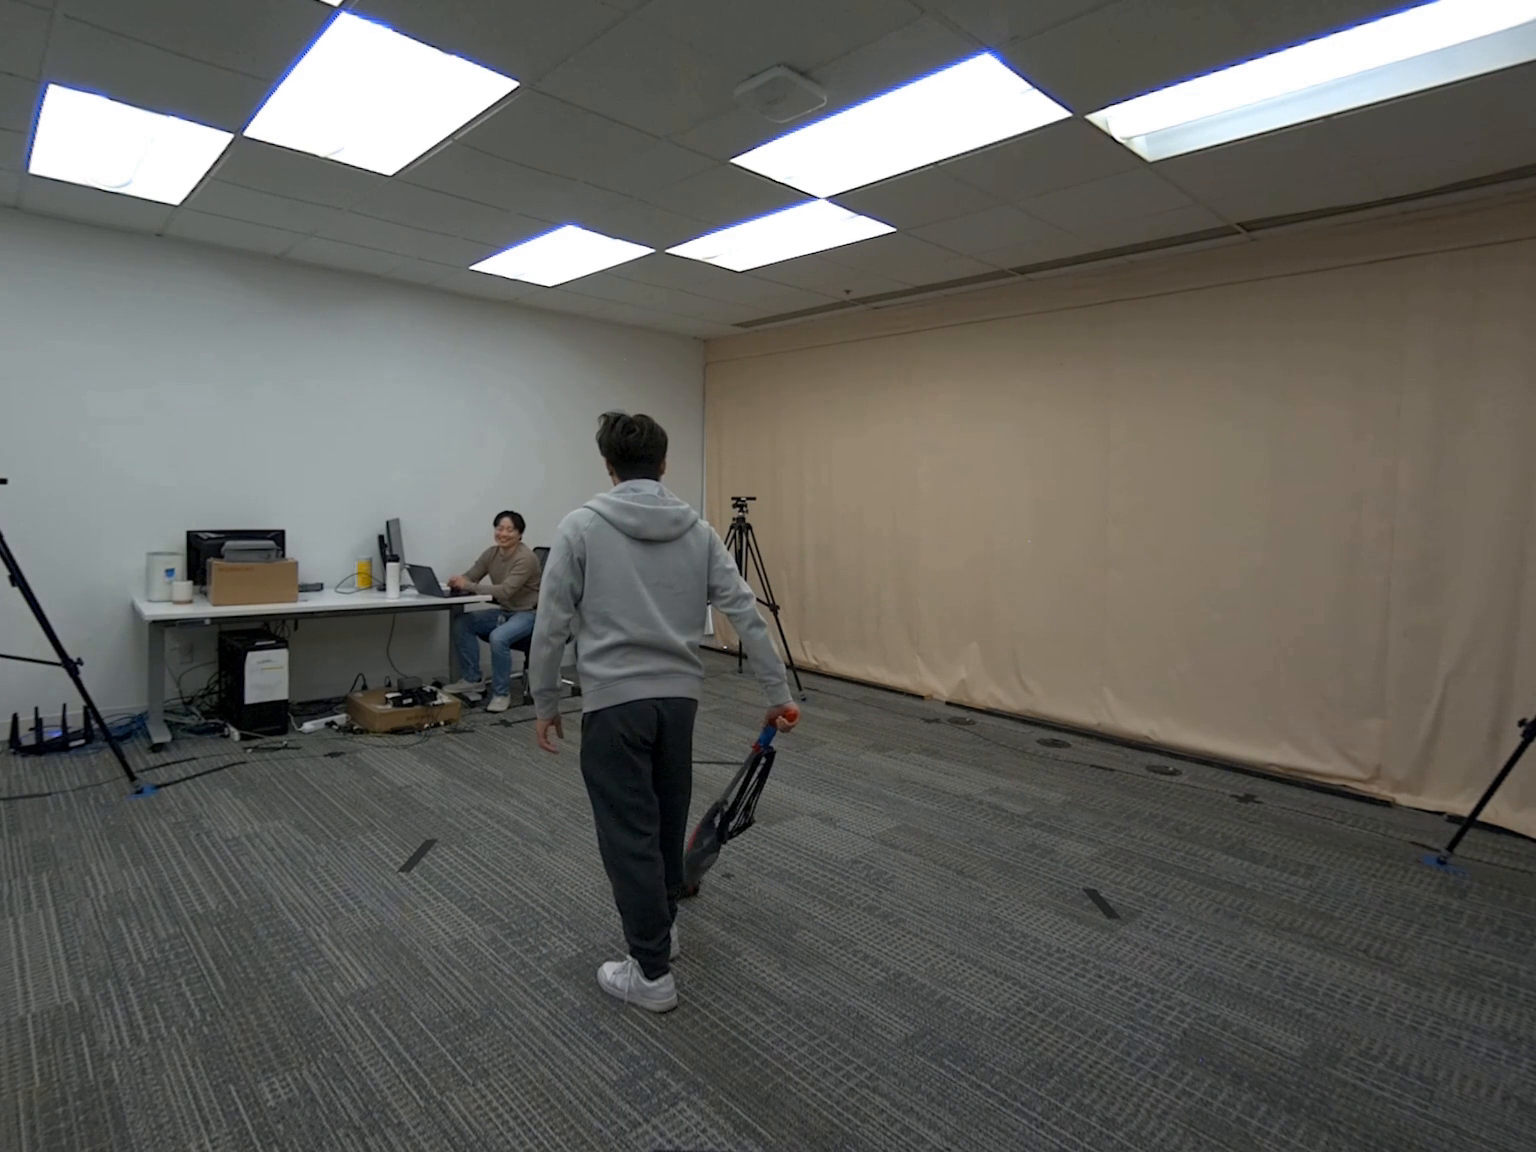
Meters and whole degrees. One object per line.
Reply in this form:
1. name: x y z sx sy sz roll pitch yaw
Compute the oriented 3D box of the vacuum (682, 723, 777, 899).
1. vacuum: -0.158 0.752 2.662 0.247 1.040 0.148 -2 49 -32
